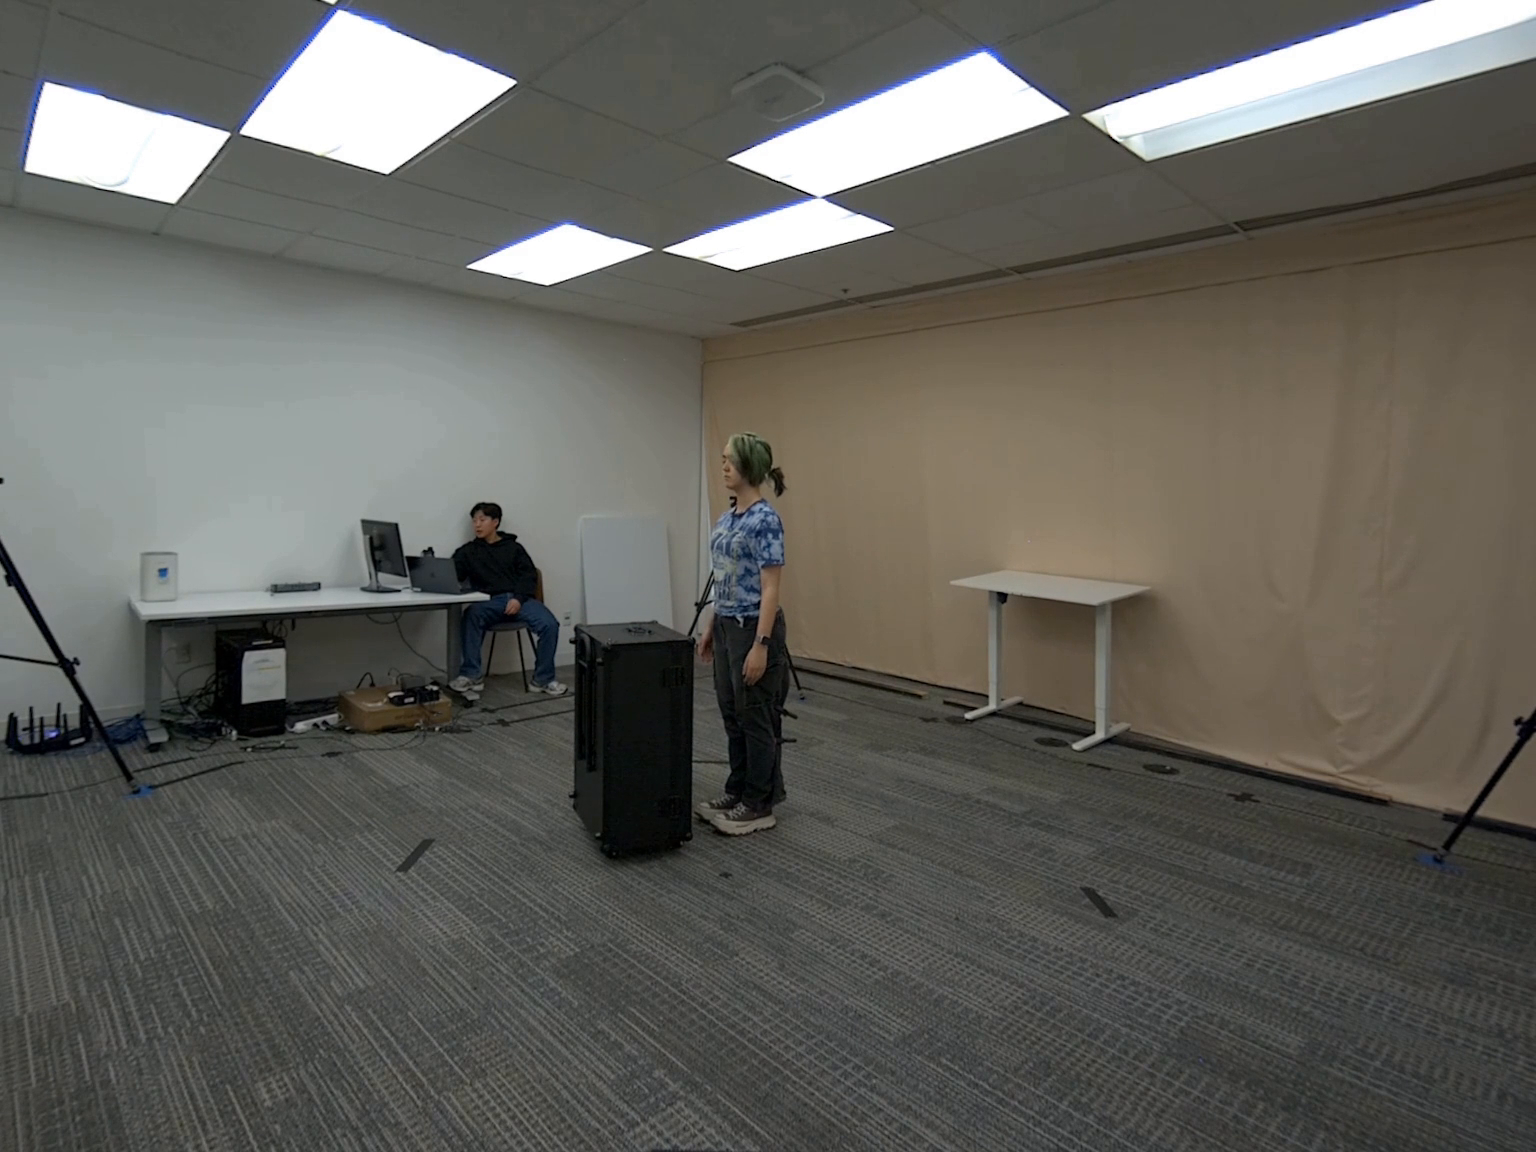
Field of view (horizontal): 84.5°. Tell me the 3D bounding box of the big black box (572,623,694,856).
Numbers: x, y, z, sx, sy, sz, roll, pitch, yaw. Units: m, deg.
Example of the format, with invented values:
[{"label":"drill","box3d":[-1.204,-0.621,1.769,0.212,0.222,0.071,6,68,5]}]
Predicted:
[{"label":"big black box","box3d":[-0.562,0.588,3.362,0.389,0.859,0.532,-1,5,-25]}]
